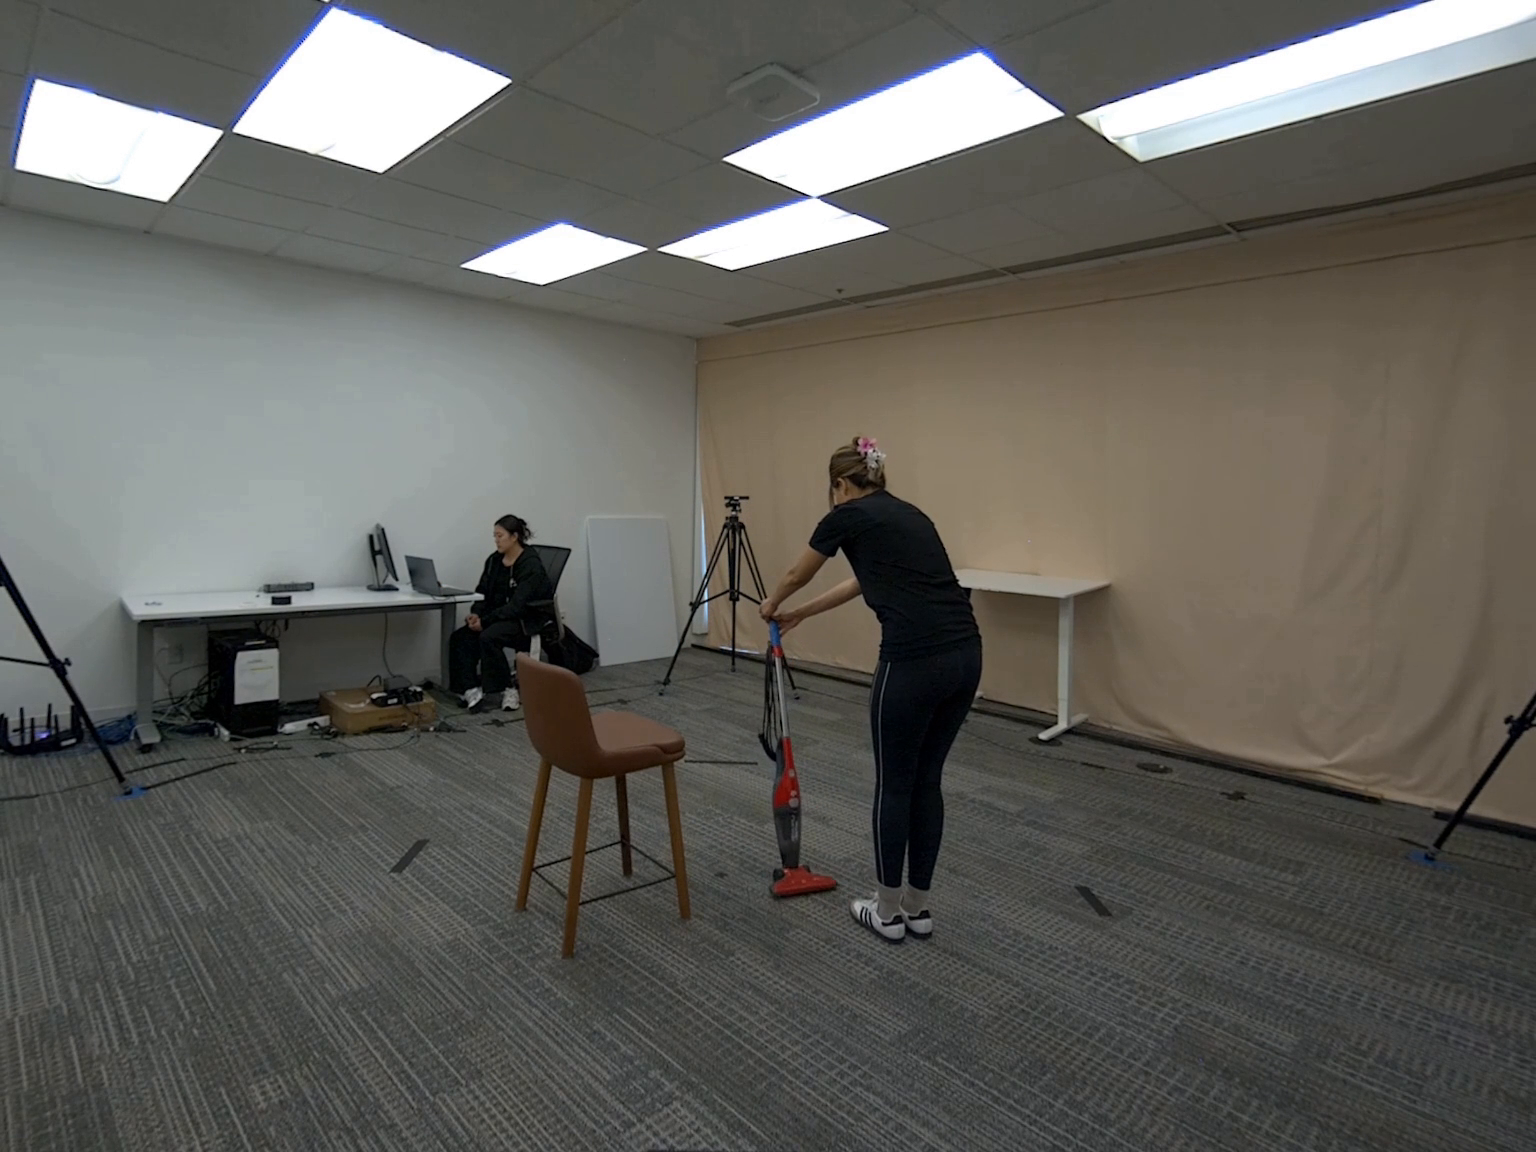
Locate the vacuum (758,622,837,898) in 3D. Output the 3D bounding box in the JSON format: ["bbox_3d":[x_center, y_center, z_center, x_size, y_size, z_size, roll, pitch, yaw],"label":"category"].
[{"bbox_3d":[0.044,0.614,3.174,0.248,1.065,0.144,2,-20,-26],"label":"vacuum"}]
